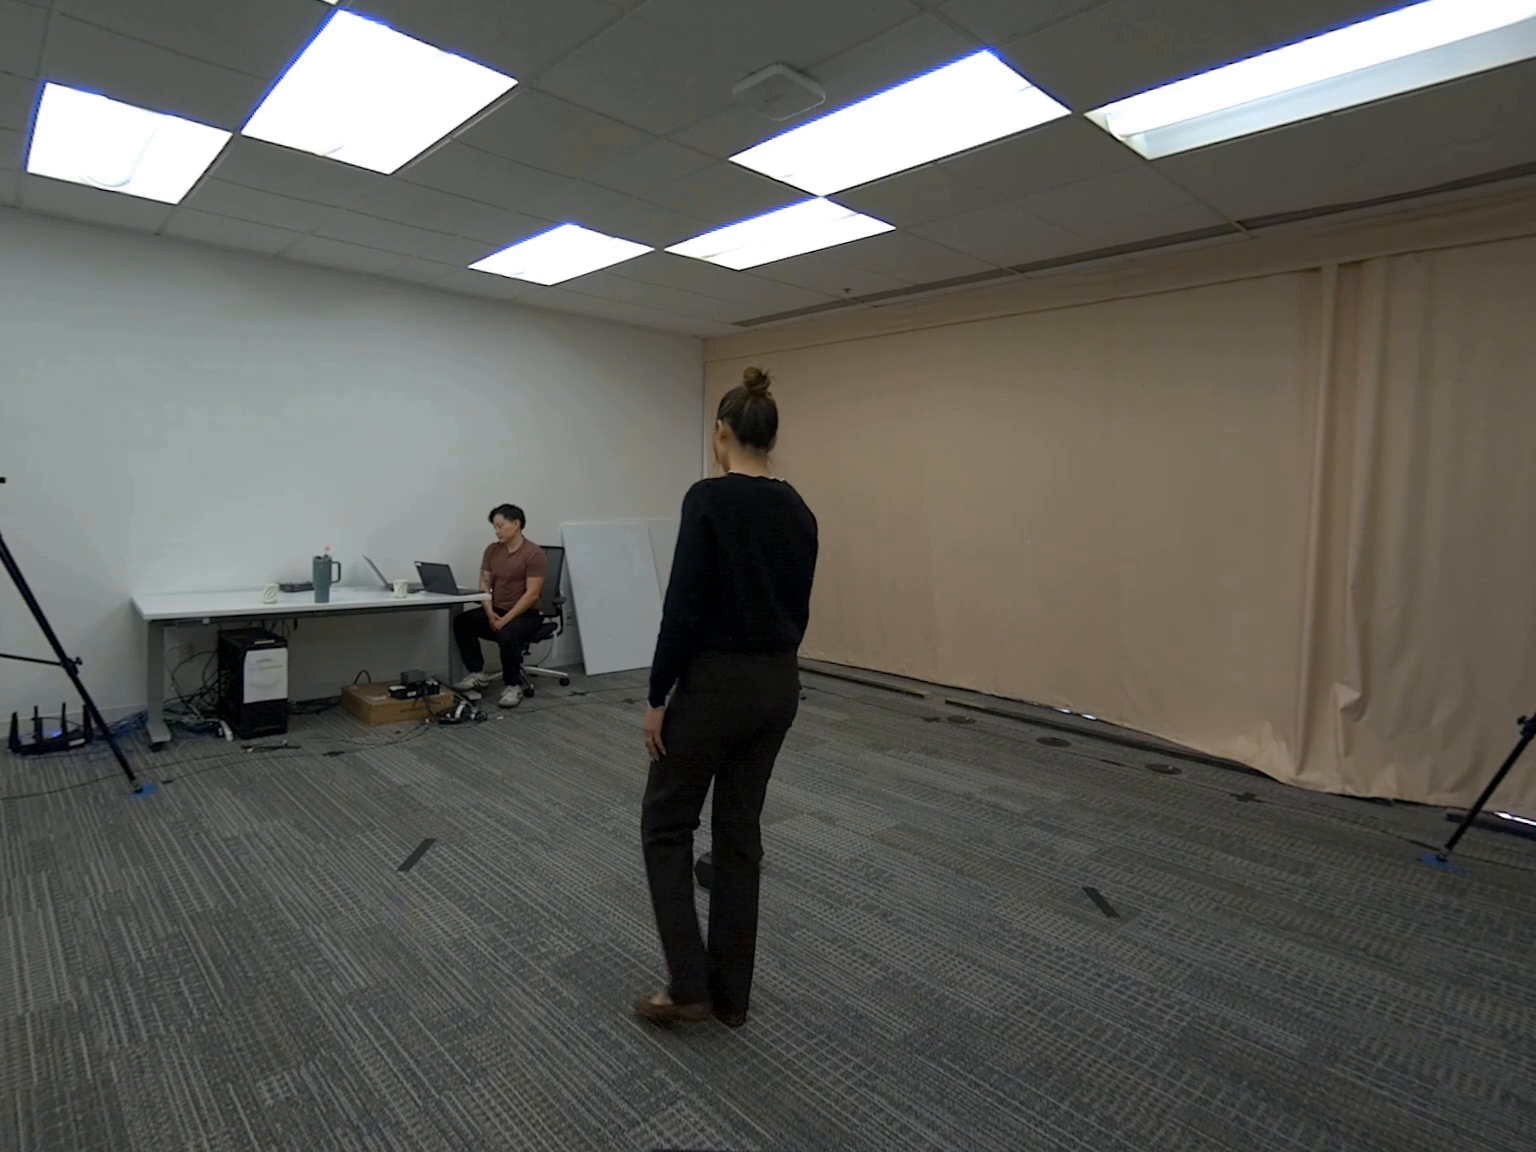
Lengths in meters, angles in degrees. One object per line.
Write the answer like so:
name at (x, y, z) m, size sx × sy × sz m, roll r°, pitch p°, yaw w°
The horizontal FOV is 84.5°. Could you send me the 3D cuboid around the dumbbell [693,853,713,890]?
dumbbell at (-0.149, 1.052, 3.100) m, size 0.109 × 0.124 × 0.287 m, roll -31°, pitch -14°, yaw 34°
